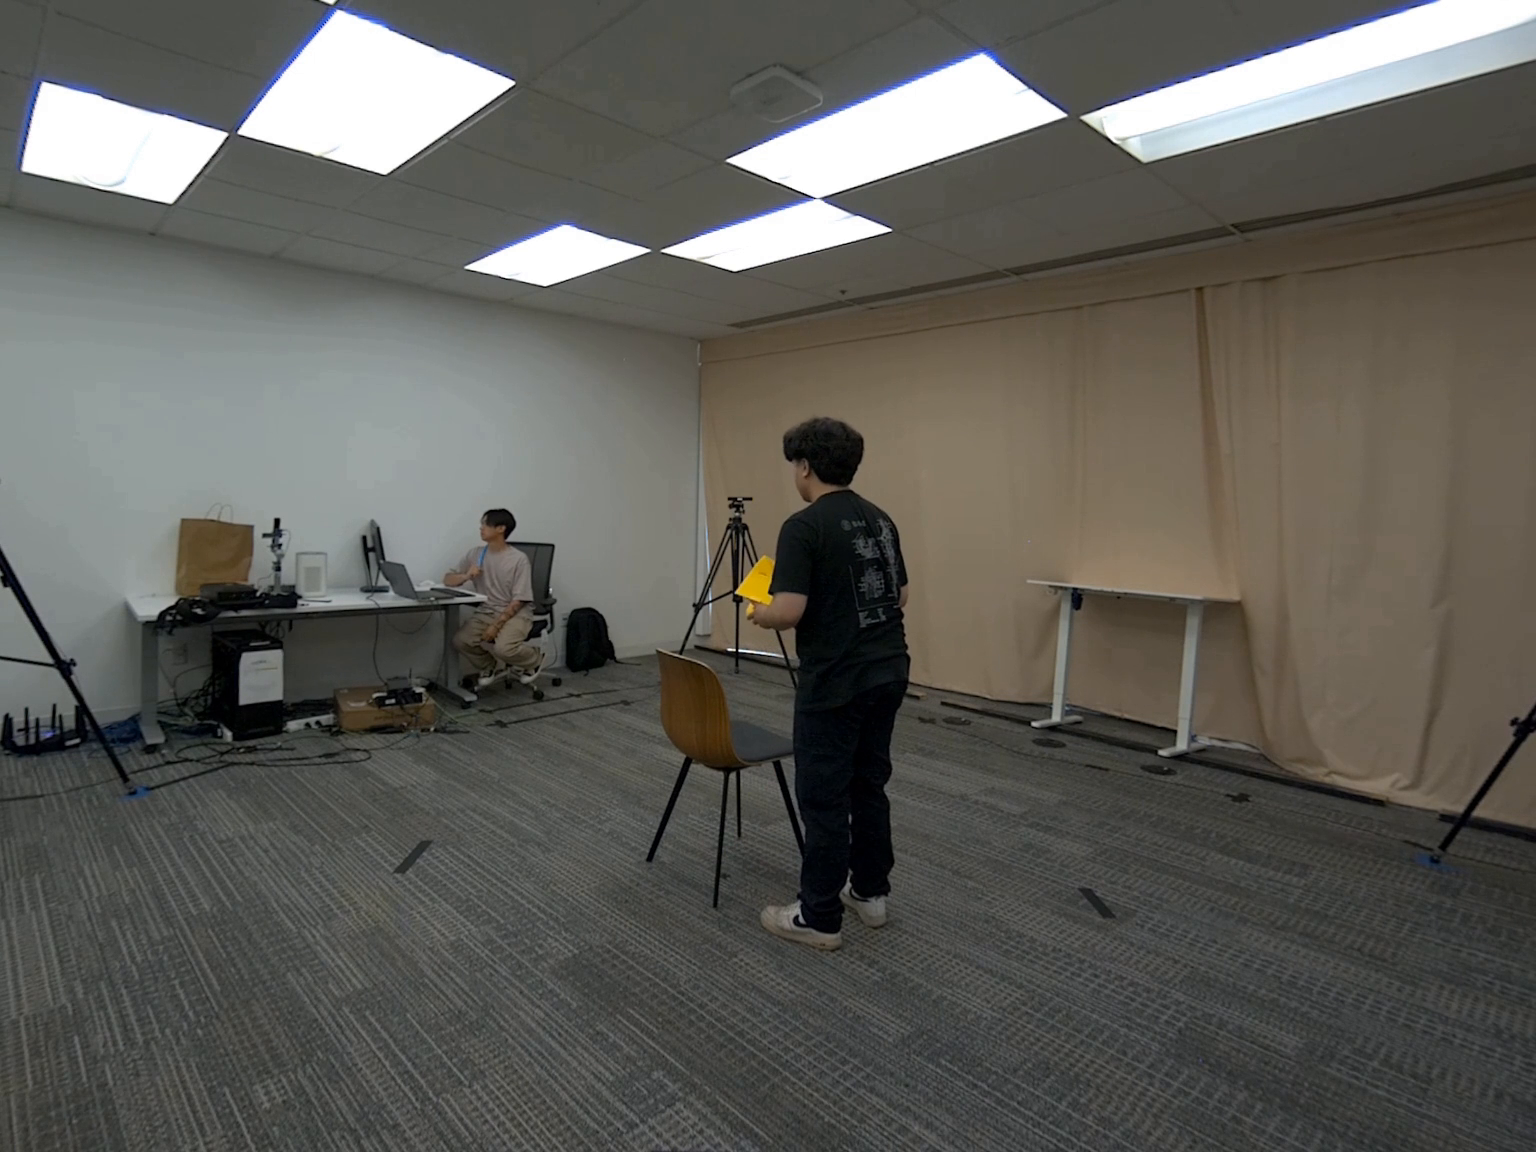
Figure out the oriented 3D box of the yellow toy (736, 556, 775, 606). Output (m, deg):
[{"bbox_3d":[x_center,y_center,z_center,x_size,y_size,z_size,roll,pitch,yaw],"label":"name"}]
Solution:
[{"bbox_3d":[0.033,0.036,2.884,0.211,0.228,0.189,16,19,42],"label":"yellow toy"}]
